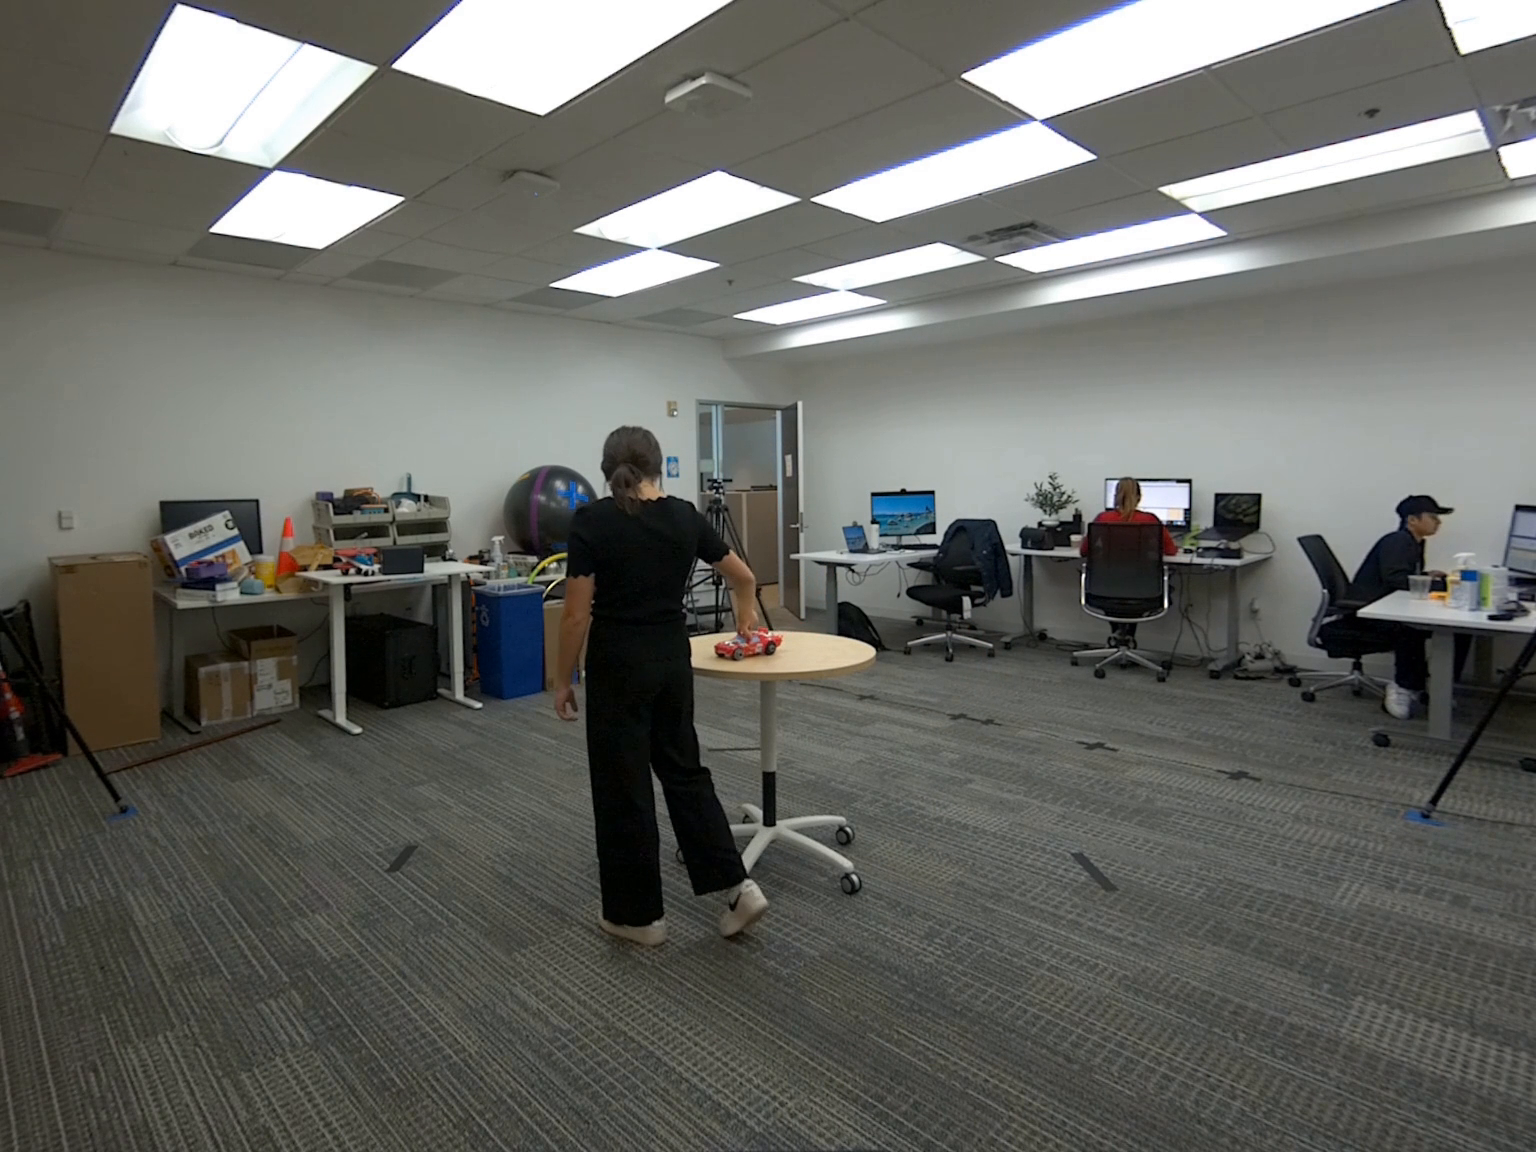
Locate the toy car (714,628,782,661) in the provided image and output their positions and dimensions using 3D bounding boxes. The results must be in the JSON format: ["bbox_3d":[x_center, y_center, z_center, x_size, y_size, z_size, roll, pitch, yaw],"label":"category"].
[{"bbox_3d":[-0.058,0.243,2.977,0.250,0.082,0.134,-19,16,-35],"label":"toy car"}]
